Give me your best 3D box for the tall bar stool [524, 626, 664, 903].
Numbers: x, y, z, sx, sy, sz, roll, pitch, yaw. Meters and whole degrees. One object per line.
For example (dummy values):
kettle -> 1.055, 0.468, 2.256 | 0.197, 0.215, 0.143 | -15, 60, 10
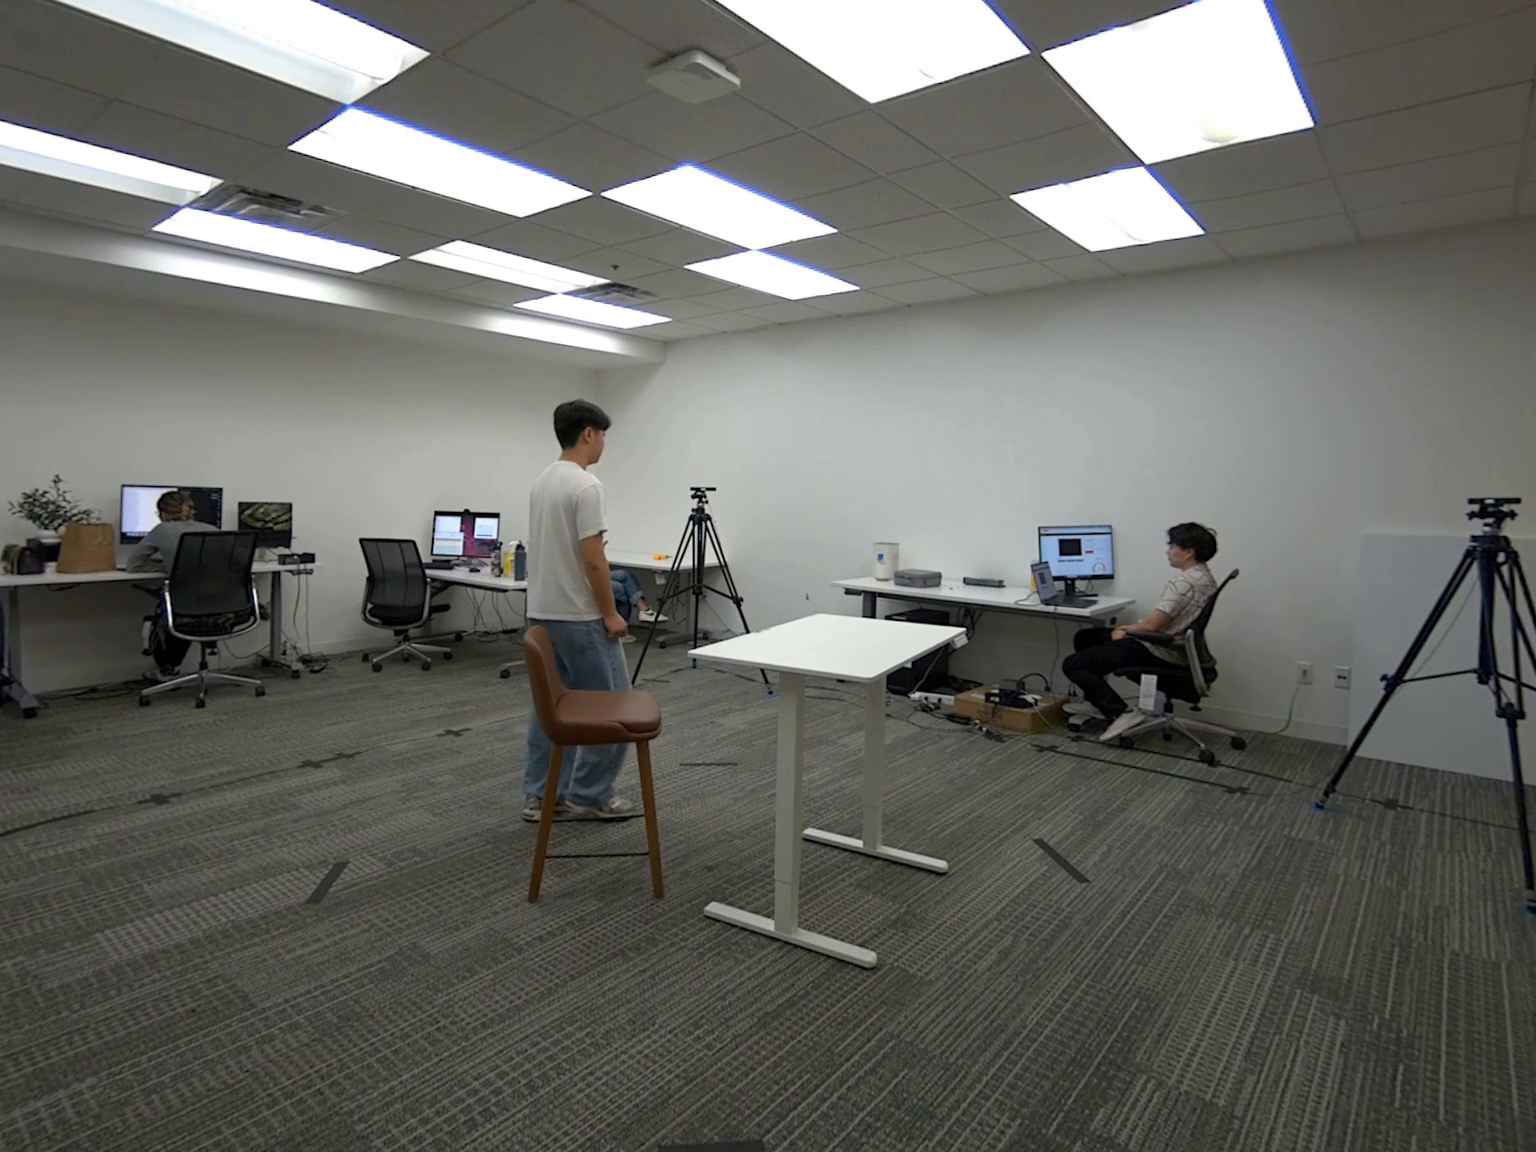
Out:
tall bar stool -> -0.619, 0.633, 3.024 | 0.463, 0.888, 0.462 | -1, 3, -10
